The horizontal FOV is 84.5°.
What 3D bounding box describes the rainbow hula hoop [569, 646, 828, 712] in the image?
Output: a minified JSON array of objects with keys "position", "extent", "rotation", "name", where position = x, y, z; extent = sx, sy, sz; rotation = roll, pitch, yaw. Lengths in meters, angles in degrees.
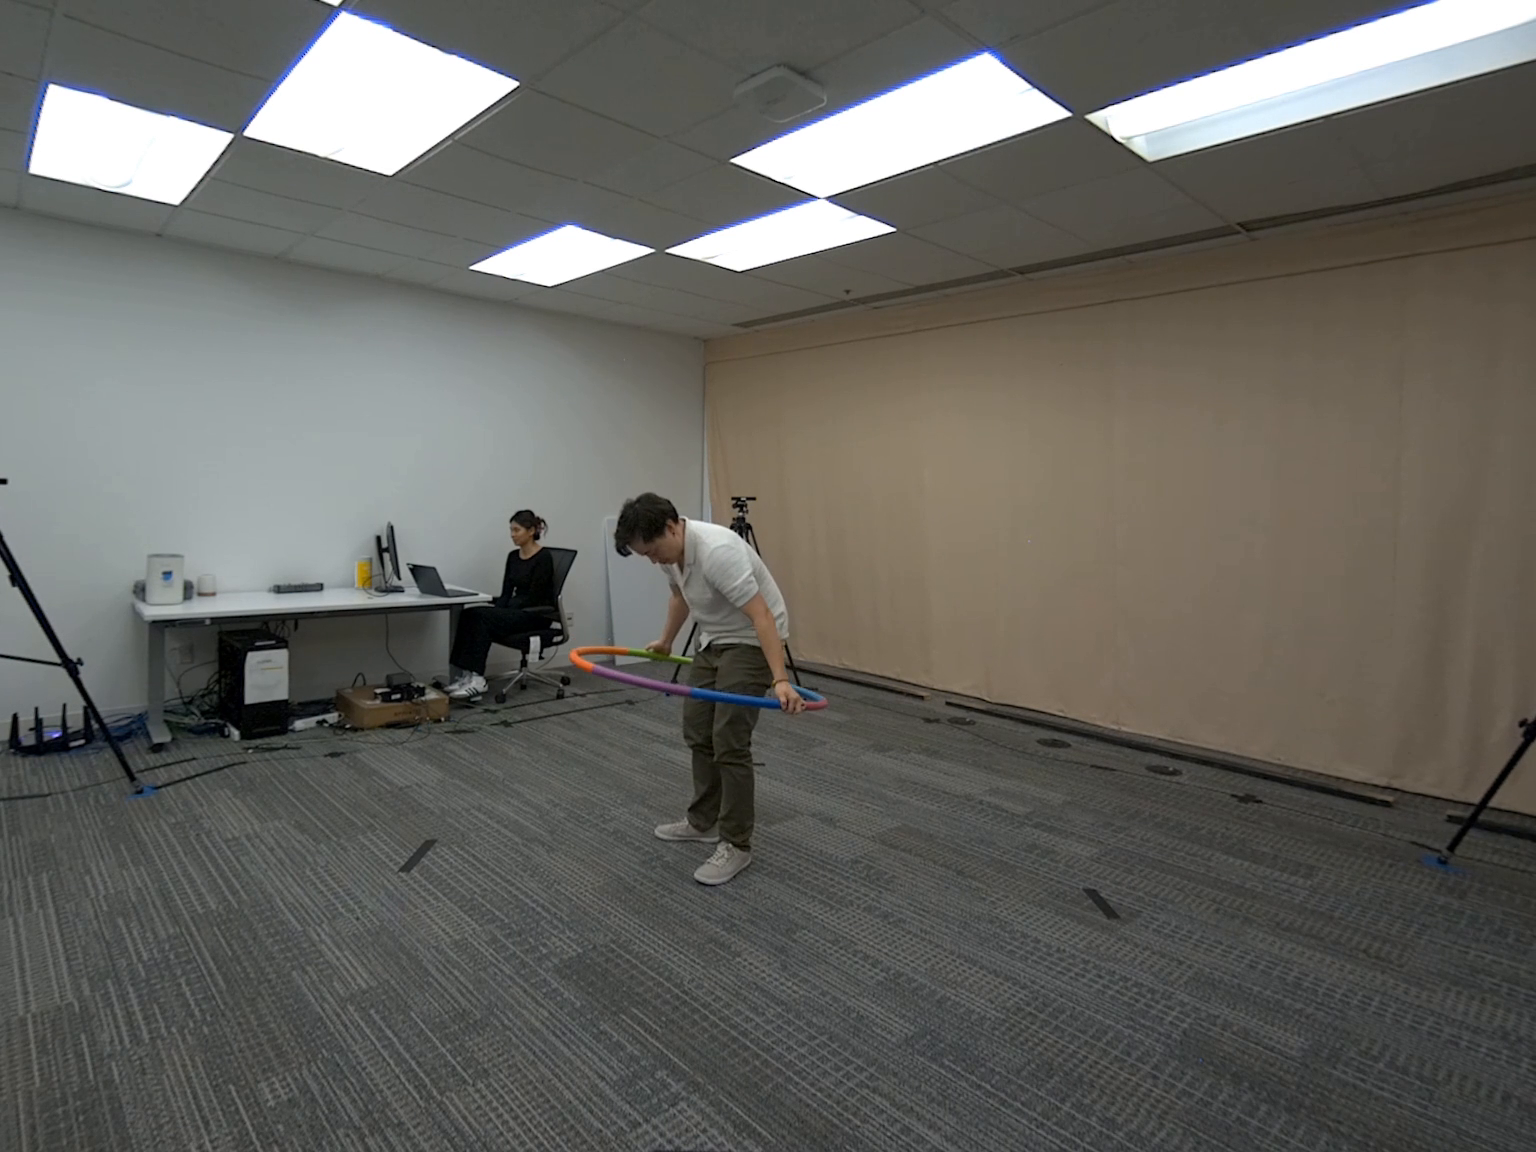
[{"position":[-0.264,0.385,3.215],"extent":[0.978,0.035,0.978],"rotation":[11,0,-1],"name":"rainbow hula hoop"}]
